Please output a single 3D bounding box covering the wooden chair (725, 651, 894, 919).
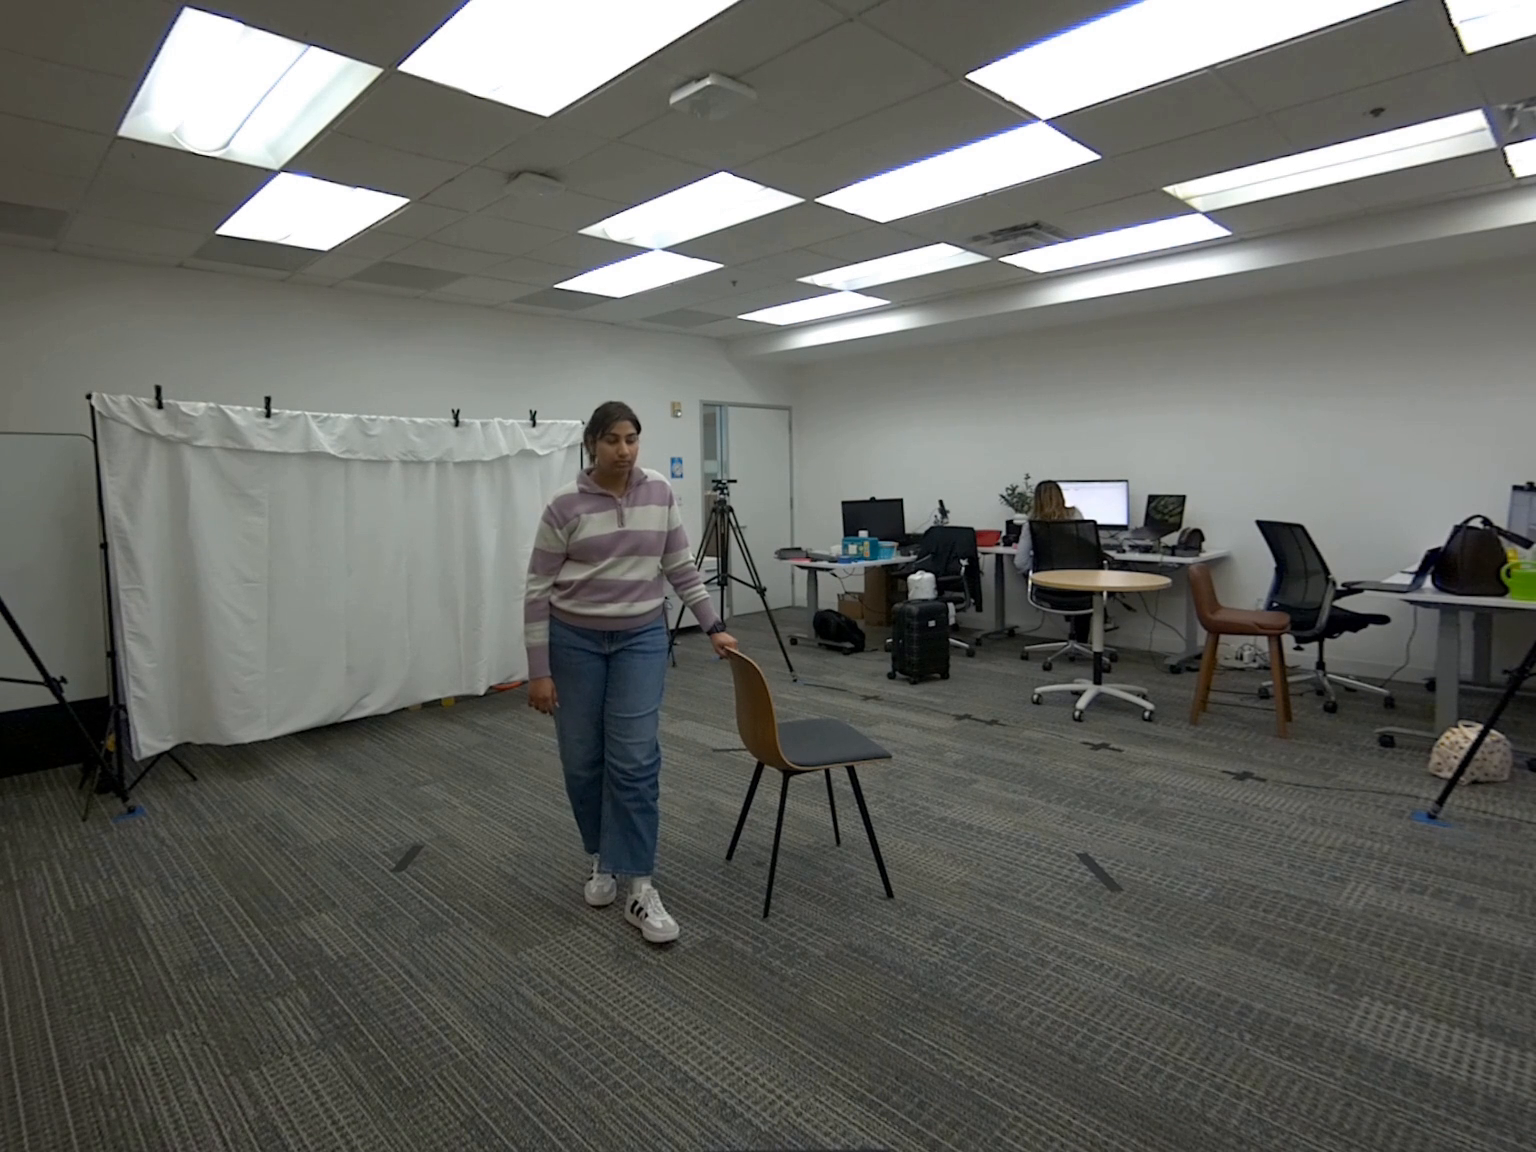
[{"bbox_3d":[0.134,0.631,2.963,0.516,0.873,0.487,-7,5,-17],"label":"wooden chair"}]
